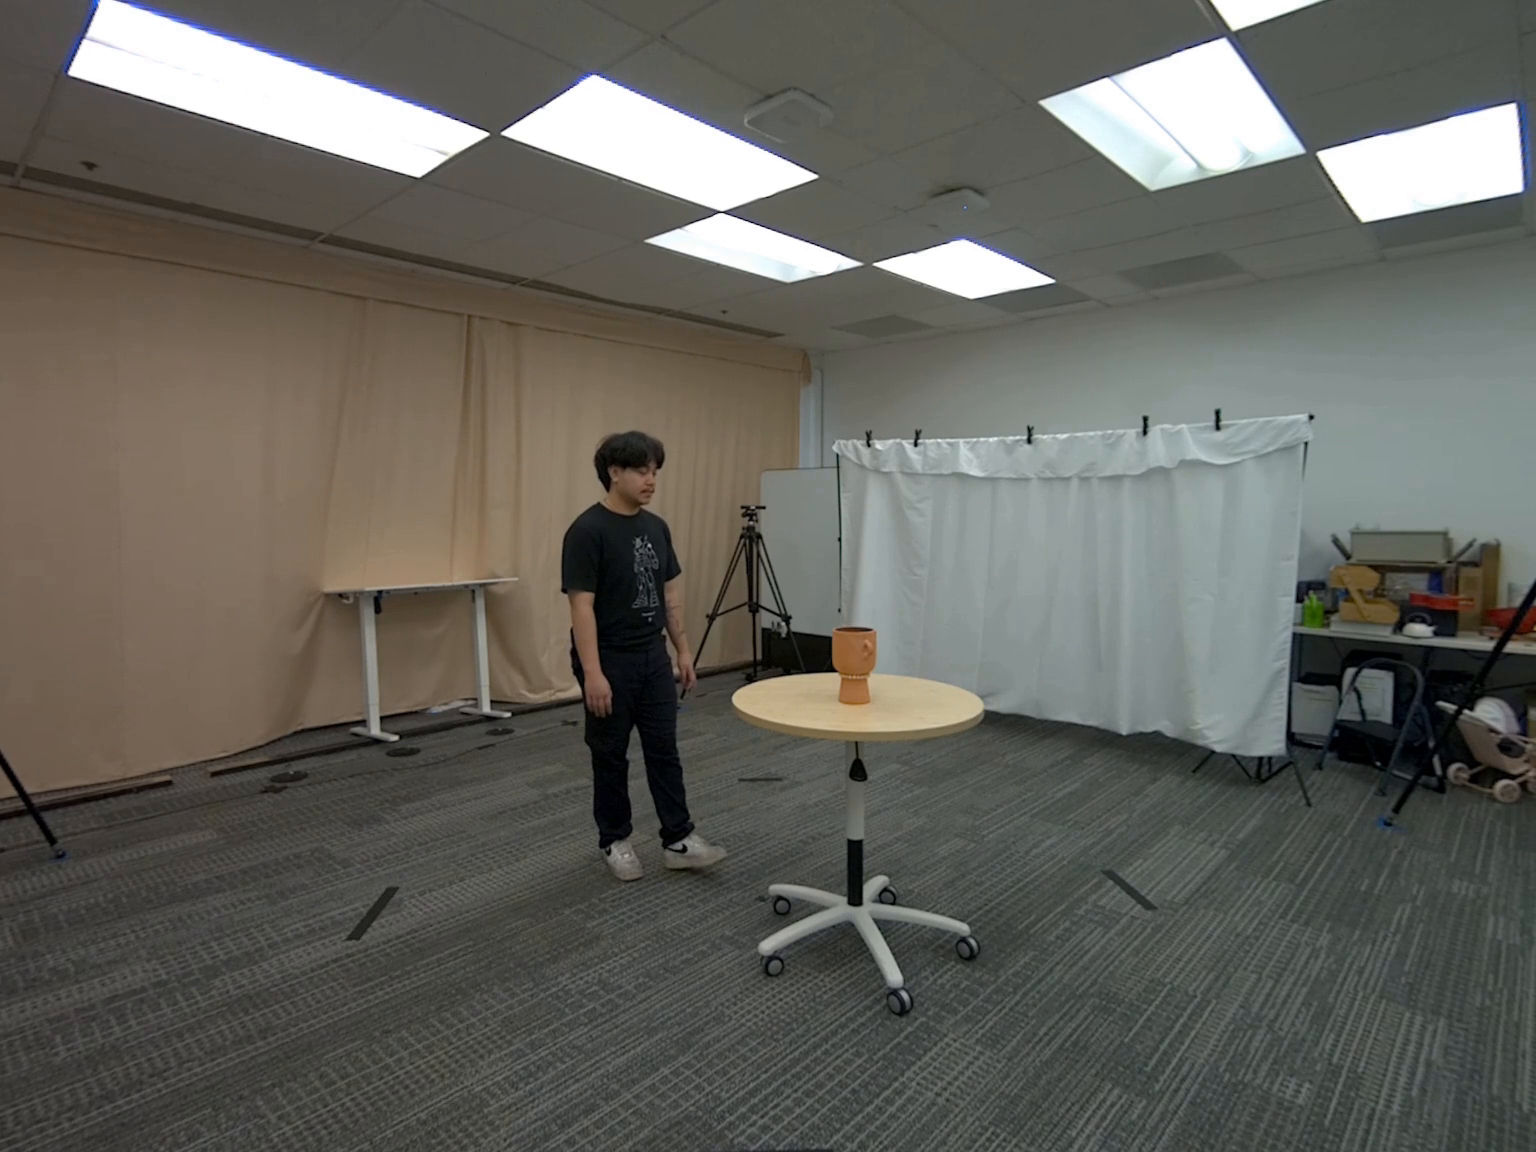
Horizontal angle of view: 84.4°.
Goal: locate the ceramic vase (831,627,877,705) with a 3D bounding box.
[{"bbox_3d":[0.278,0.277,2.568,0.137,0.219,0.156,1,5,16],"label":"ceramic vase"}]
